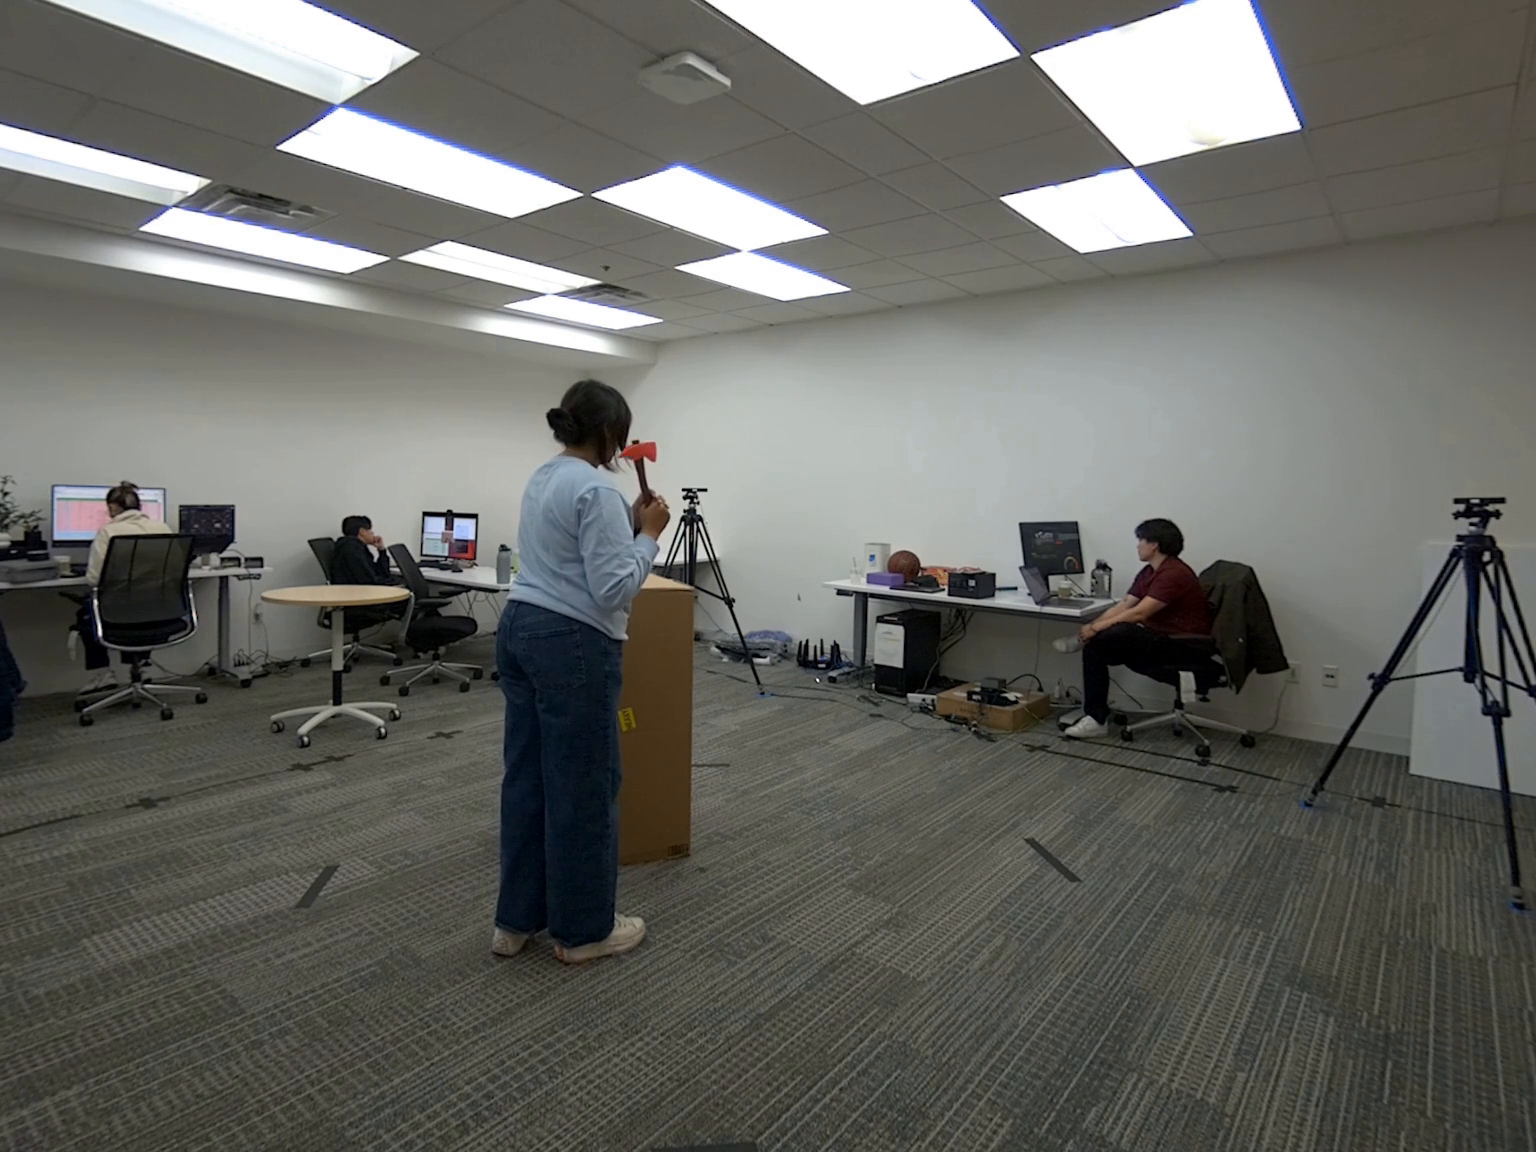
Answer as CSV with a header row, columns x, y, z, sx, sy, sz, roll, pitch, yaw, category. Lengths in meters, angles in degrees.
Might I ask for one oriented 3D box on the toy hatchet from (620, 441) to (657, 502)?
x,y,z,sx,sy,sz,roll,pitch,yaw,category
-0.351,-0.283,2.497,0.031,0.261,0.131,10,45,46,toy hatchet
